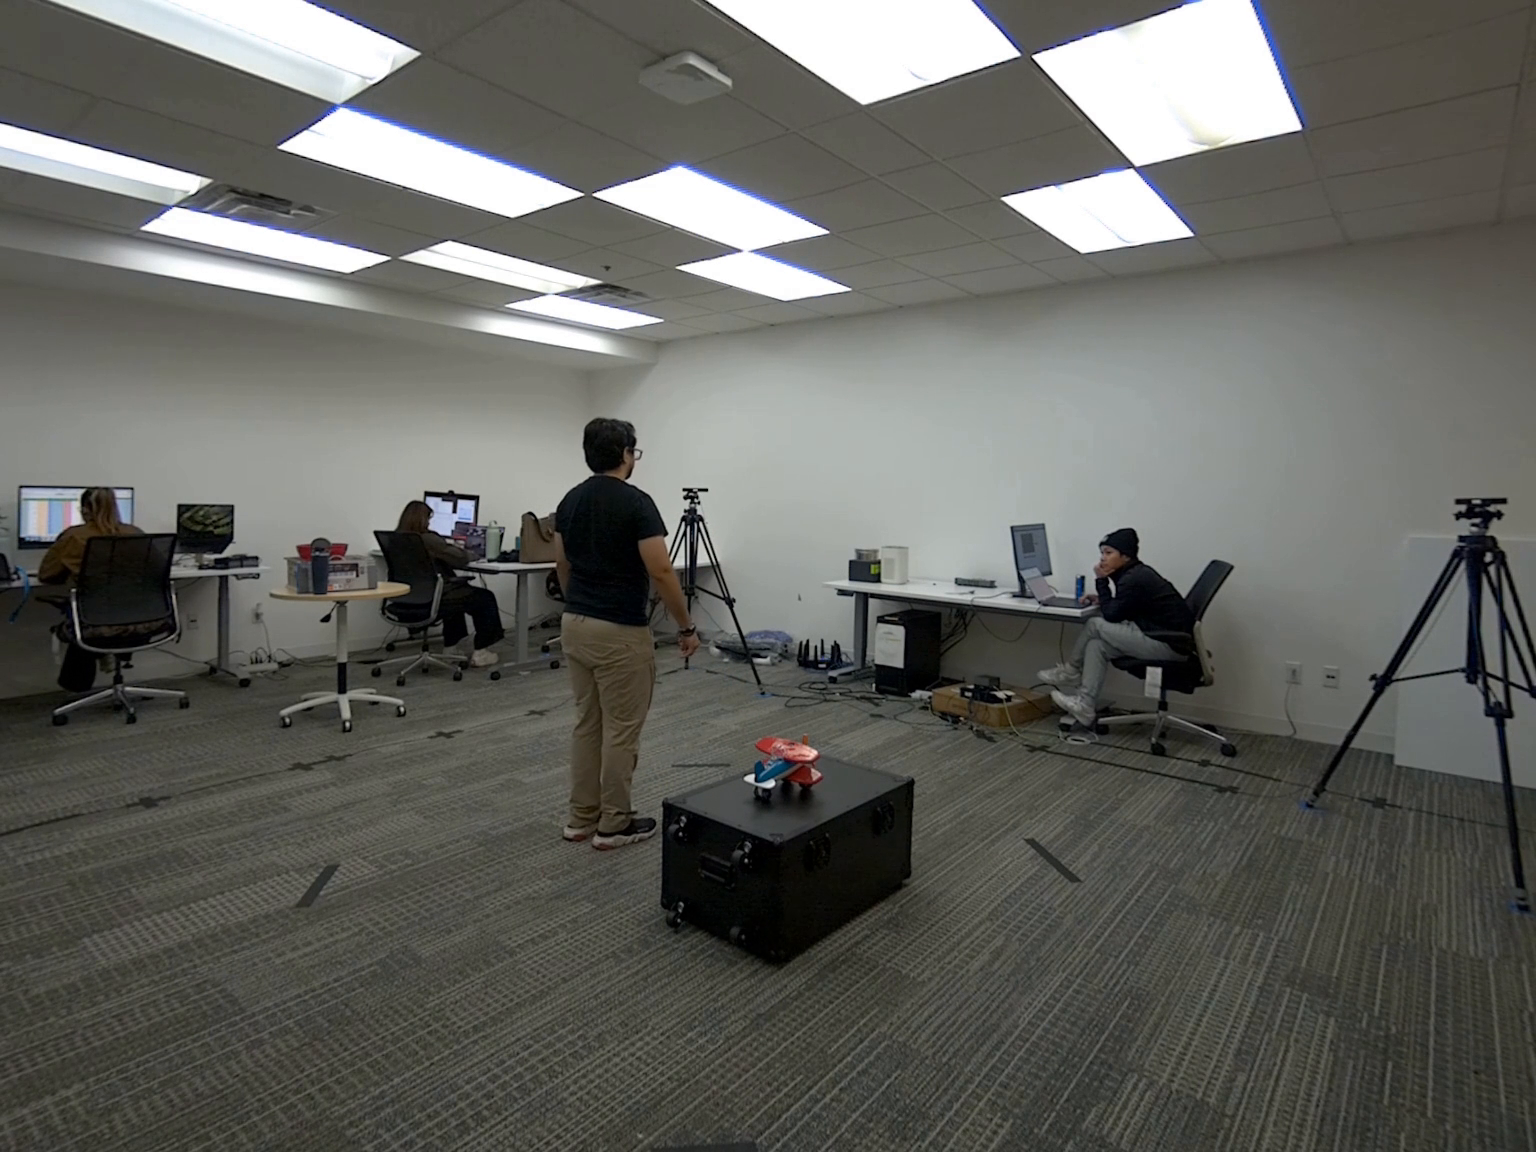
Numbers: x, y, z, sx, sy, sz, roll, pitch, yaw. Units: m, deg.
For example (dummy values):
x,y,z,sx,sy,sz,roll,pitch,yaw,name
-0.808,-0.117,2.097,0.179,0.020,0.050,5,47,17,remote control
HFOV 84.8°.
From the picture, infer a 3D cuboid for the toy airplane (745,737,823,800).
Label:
x,y,z,sx,sy,sz,roll,pitch,yaw,name
0.048,0.647,2.860,0.255,0.156,0.255,3,4,15,toy airplane
